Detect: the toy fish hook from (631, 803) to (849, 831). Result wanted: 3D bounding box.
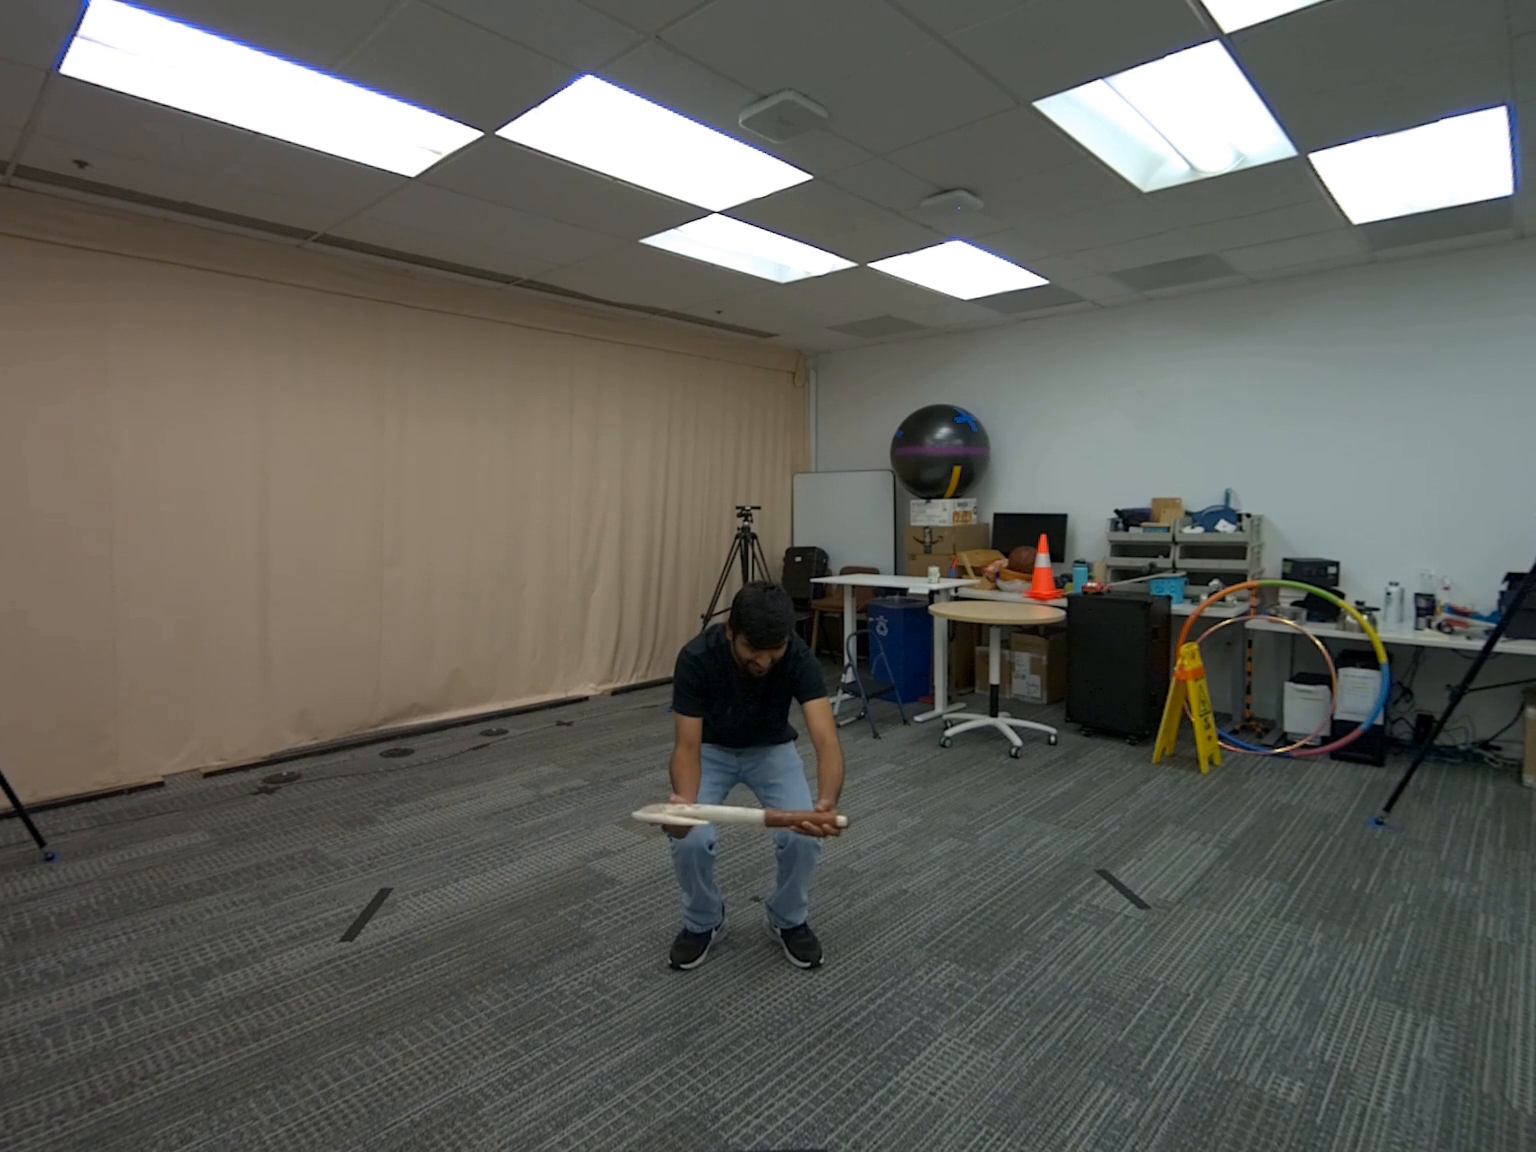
[{"bbox_3d":[-0.068,0.571,1.986,0.514,0.048,0.220,-2,-6,14],"label":"toy fish hook"}]
